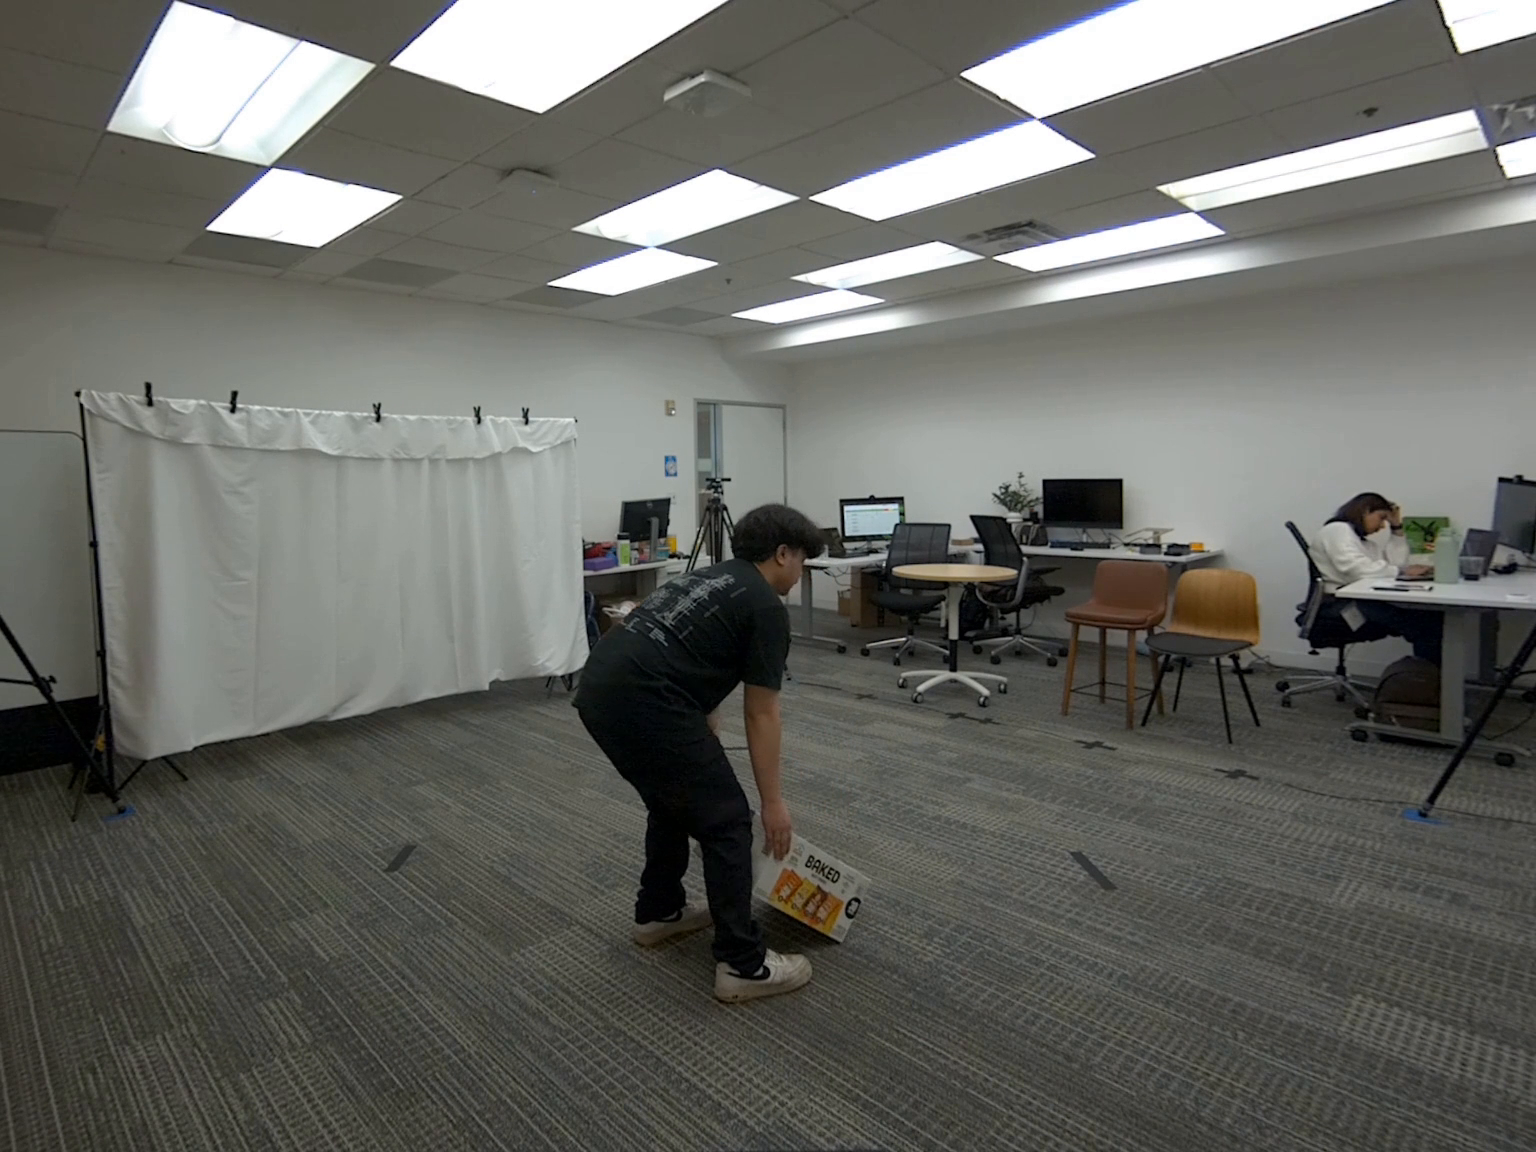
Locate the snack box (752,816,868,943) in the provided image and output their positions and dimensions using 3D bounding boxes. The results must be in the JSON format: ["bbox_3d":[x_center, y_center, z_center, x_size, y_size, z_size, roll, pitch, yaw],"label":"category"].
[{"bbox_3d":[0.046,0.899,2.635,0.392,0.206,0.350,38,-16,-29],"label":"snack box"}]
